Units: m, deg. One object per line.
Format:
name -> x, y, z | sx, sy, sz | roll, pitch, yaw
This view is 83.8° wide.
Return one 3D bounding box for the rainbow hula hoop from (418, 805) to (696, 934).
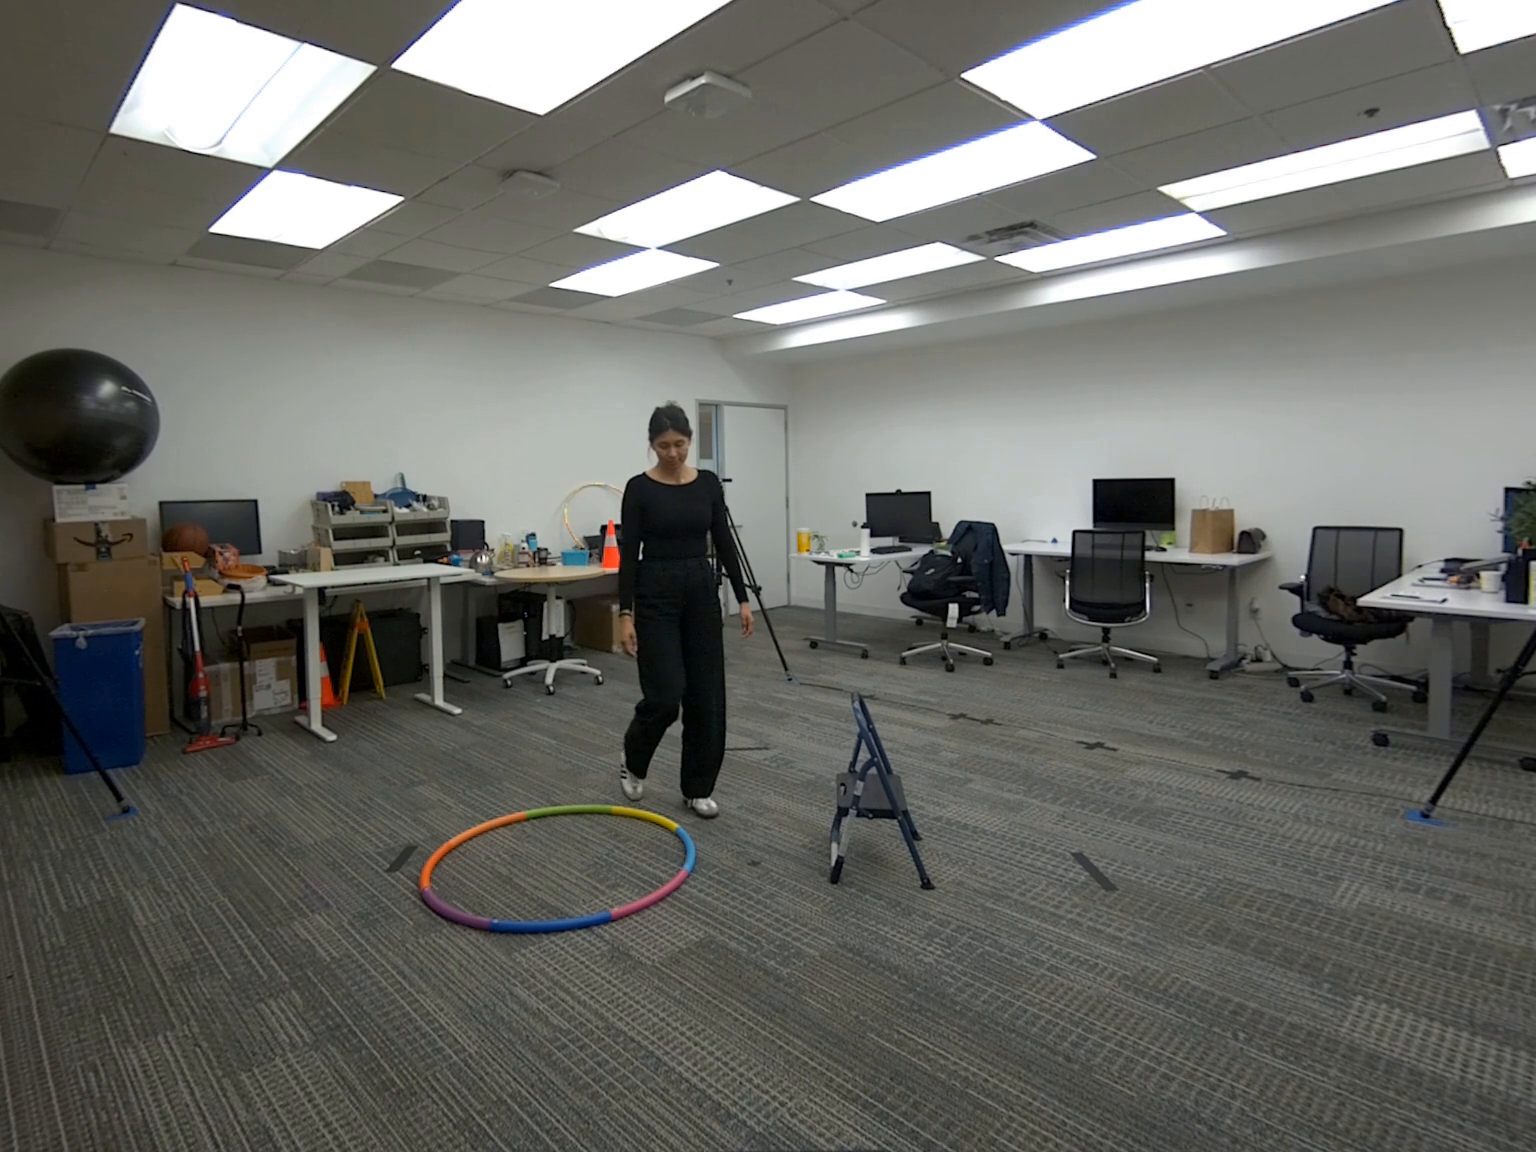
rainbow hula hoop -> -0.748, 1.022, 3.134 | 0.978, 0.035, 0.984 | -1, 7, -2
